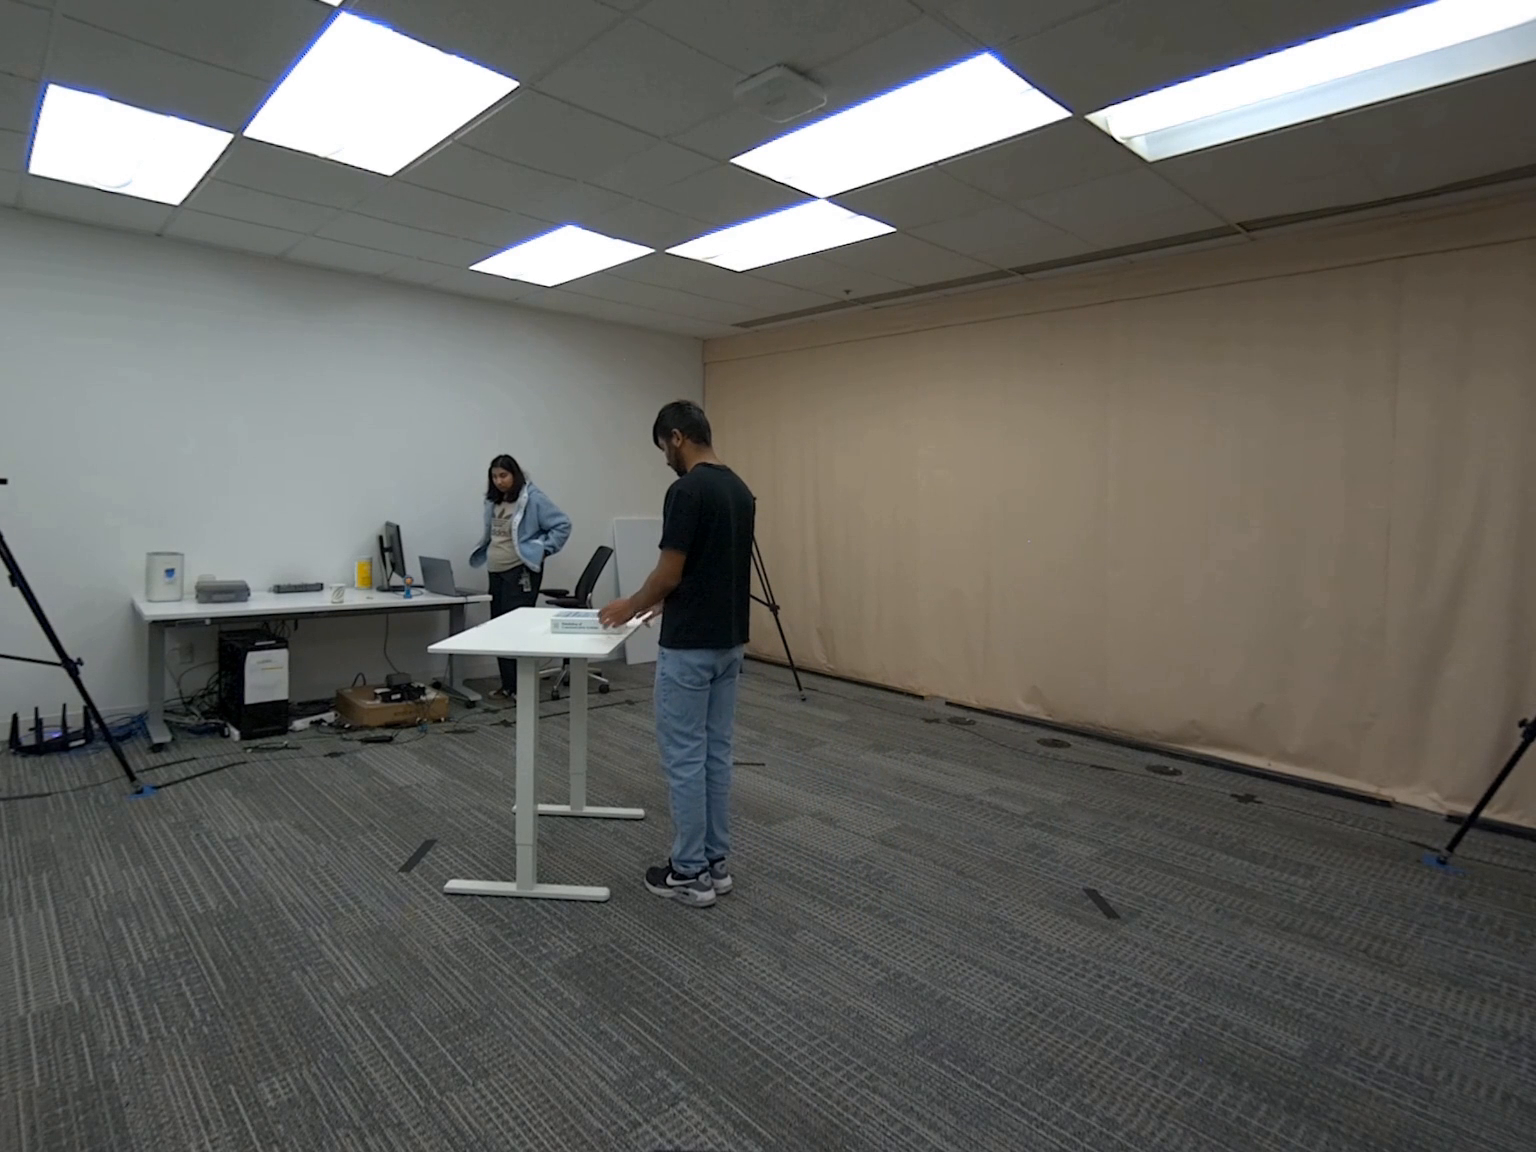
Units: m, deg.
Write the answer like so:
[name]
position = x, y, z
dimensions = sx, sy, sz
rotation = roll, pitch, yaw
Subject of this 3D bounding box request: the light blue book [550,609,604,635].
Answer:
[light blue book]
position = -0.678, 0.175, 3.193
dimensions = 0.261, 0.059, 0.192
rotation = 1, 6, 0
